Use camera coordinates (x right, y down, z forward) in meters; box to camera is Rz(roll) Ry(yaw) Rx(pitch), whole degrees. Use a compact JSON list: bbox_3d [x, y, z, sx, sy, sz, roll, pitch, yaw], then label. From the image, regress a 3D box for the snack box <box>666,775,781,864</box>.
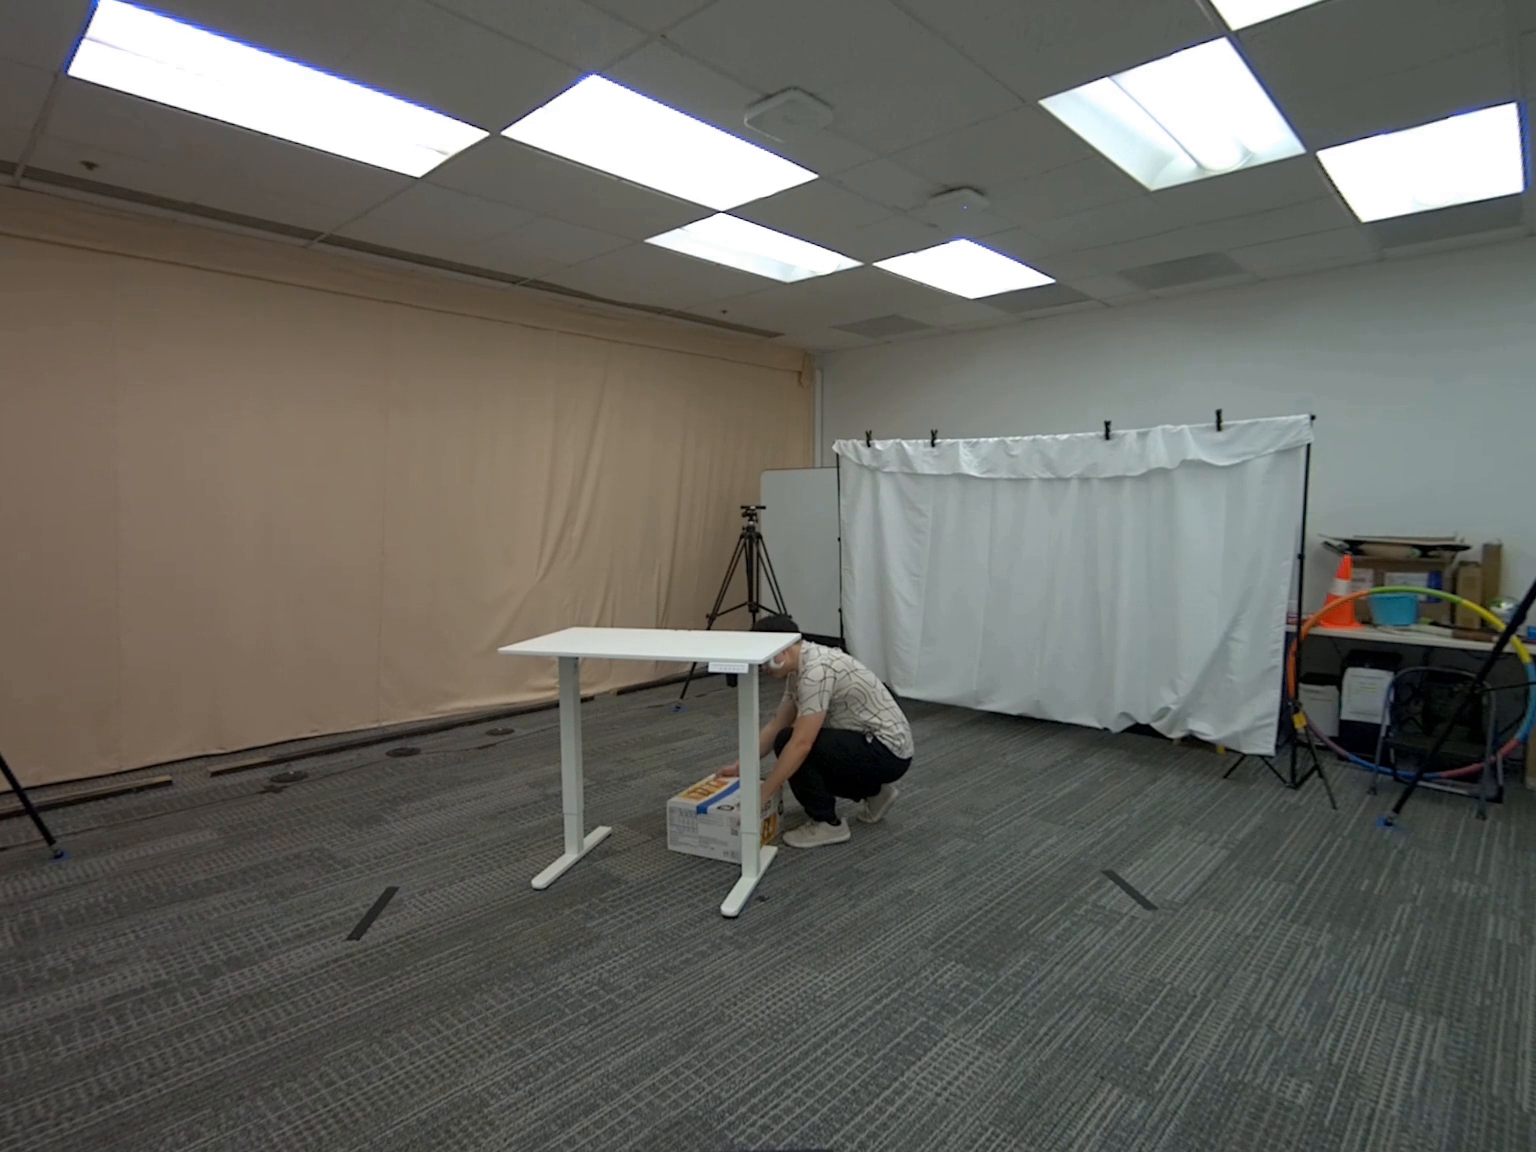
[{"bbox_3d":[-0.170,1.003,3.504,0.349,0.205,0.395,0,4,26],"label":"snack box"}]
